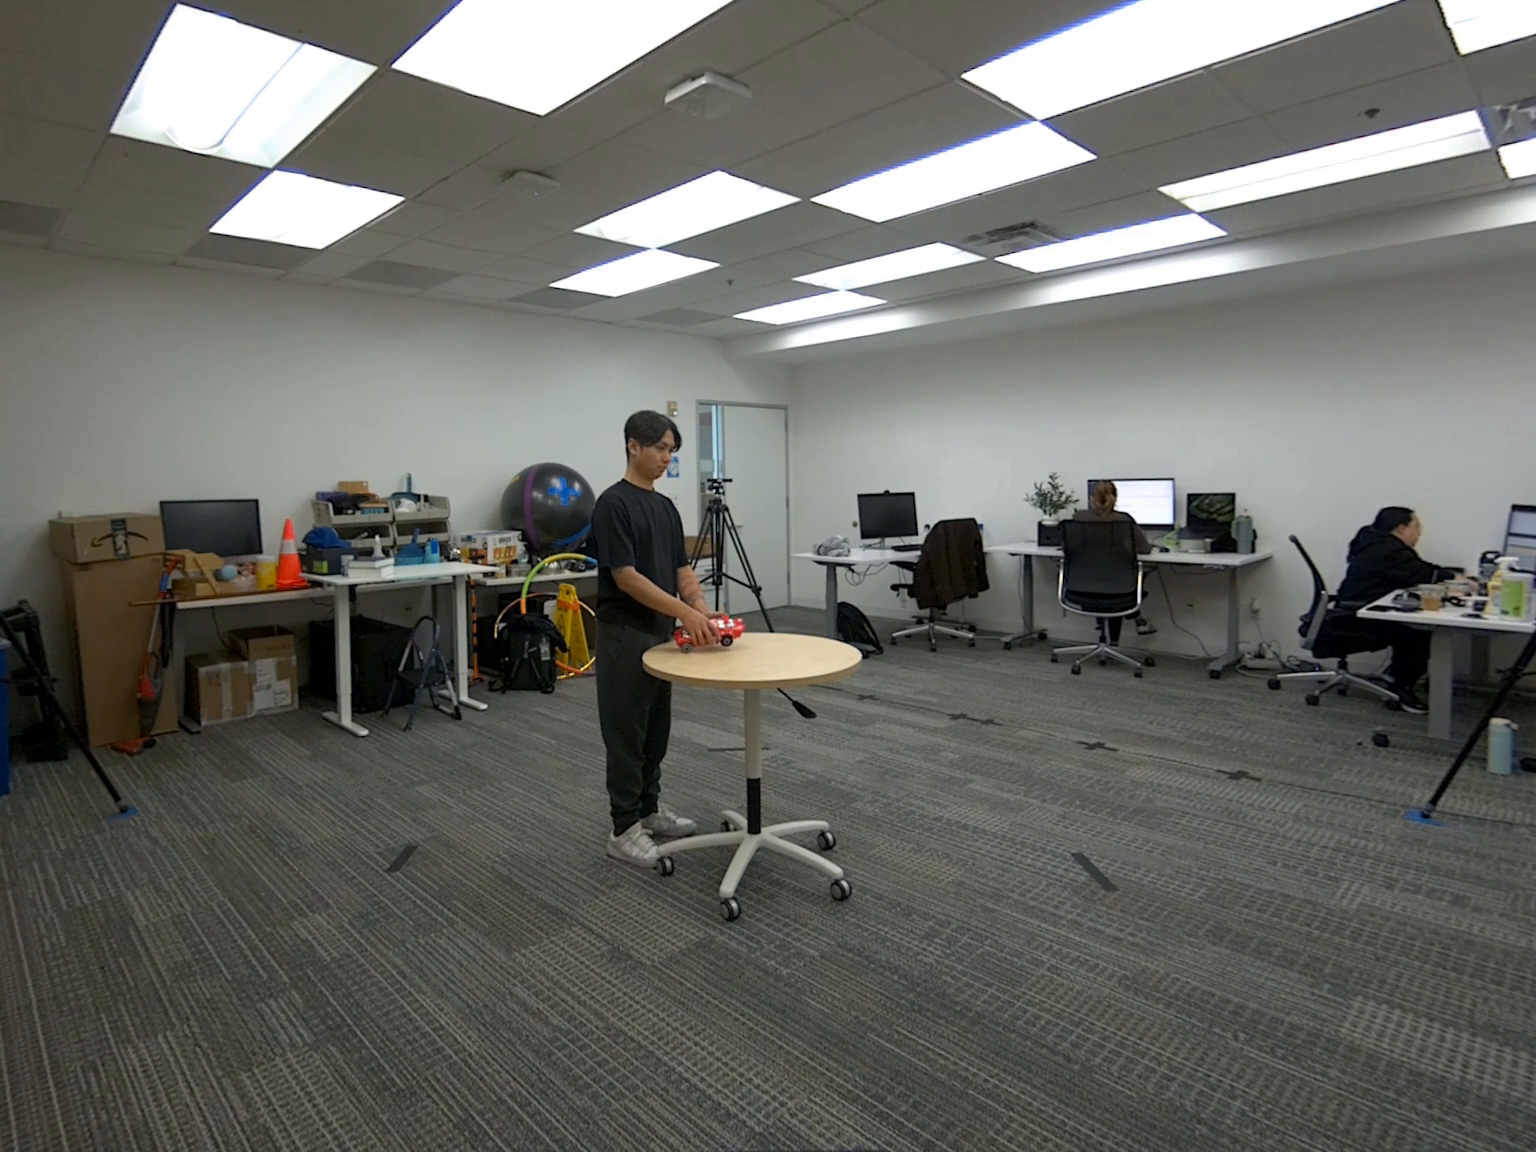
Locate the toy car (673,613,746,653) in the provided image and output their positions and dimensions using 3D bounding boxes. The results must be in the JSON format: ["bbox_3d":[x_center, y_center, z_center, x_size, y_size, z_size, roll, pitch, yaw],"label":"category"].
[{"bbox_3d":[-0.205,0.212,3.065,0.254,0.081,0.134,-18,26,0],"label":"toy car"}]
